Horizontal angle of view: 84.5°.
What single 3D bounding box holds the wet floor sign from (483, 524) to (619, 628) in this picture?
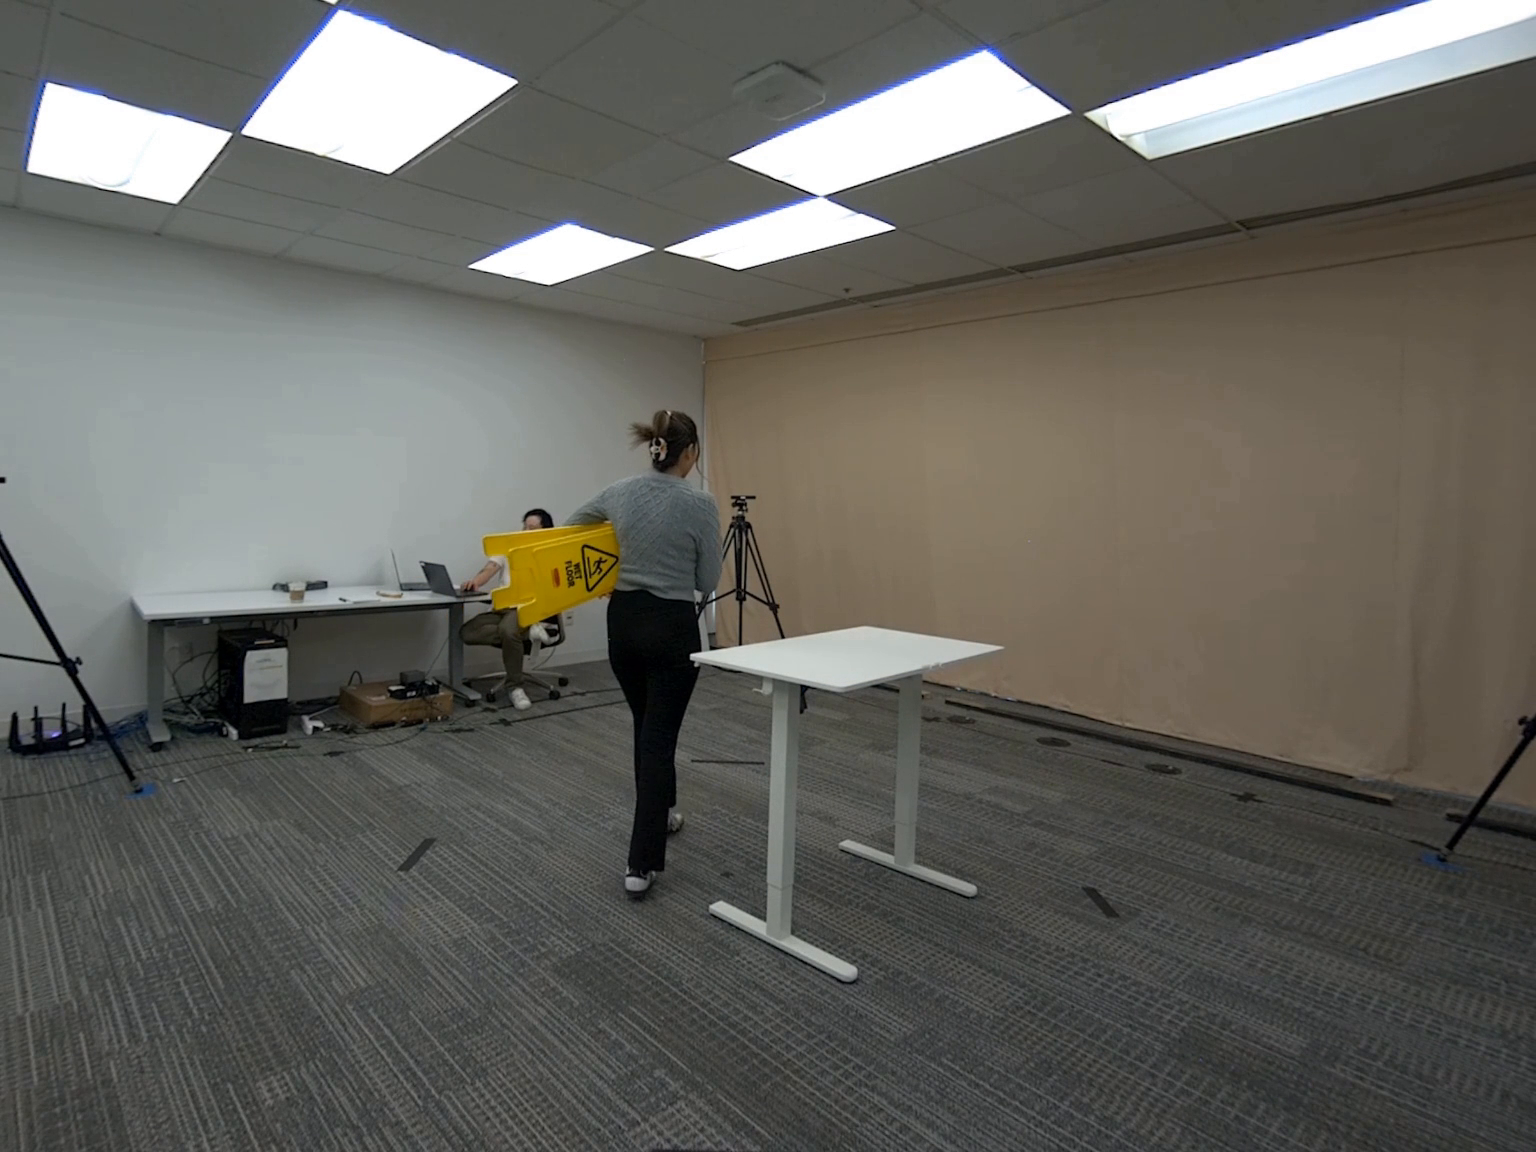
[{"bbox_3d":[-0.685,-0.057,3.128,0.636,0.279,0.297,-16,18,-33],"label":"wet floor sign"}]
